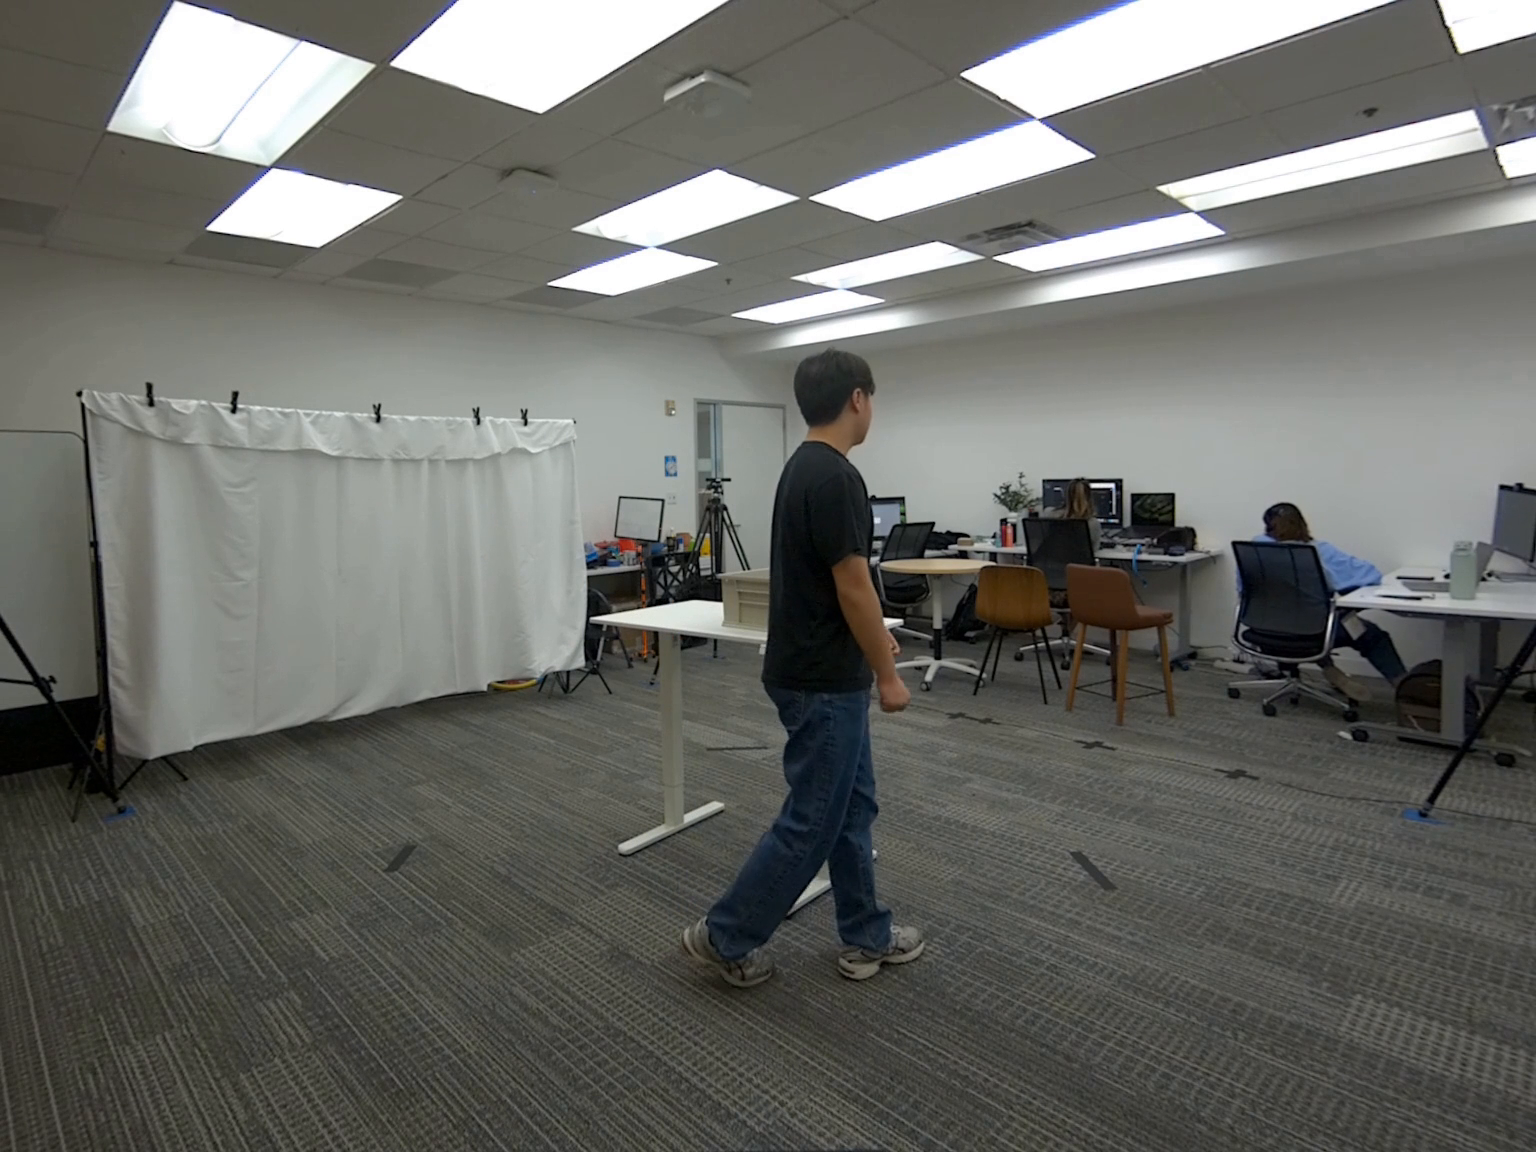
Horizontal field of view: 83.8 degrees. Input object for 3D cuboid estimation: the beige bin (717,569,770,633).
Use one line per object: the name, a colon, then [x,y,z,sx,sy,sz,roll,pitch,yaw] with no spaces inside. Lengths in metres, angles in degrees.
beige bin: [0.107,0.081,2.998,0.388,0.188,0.411,2,7,42]
